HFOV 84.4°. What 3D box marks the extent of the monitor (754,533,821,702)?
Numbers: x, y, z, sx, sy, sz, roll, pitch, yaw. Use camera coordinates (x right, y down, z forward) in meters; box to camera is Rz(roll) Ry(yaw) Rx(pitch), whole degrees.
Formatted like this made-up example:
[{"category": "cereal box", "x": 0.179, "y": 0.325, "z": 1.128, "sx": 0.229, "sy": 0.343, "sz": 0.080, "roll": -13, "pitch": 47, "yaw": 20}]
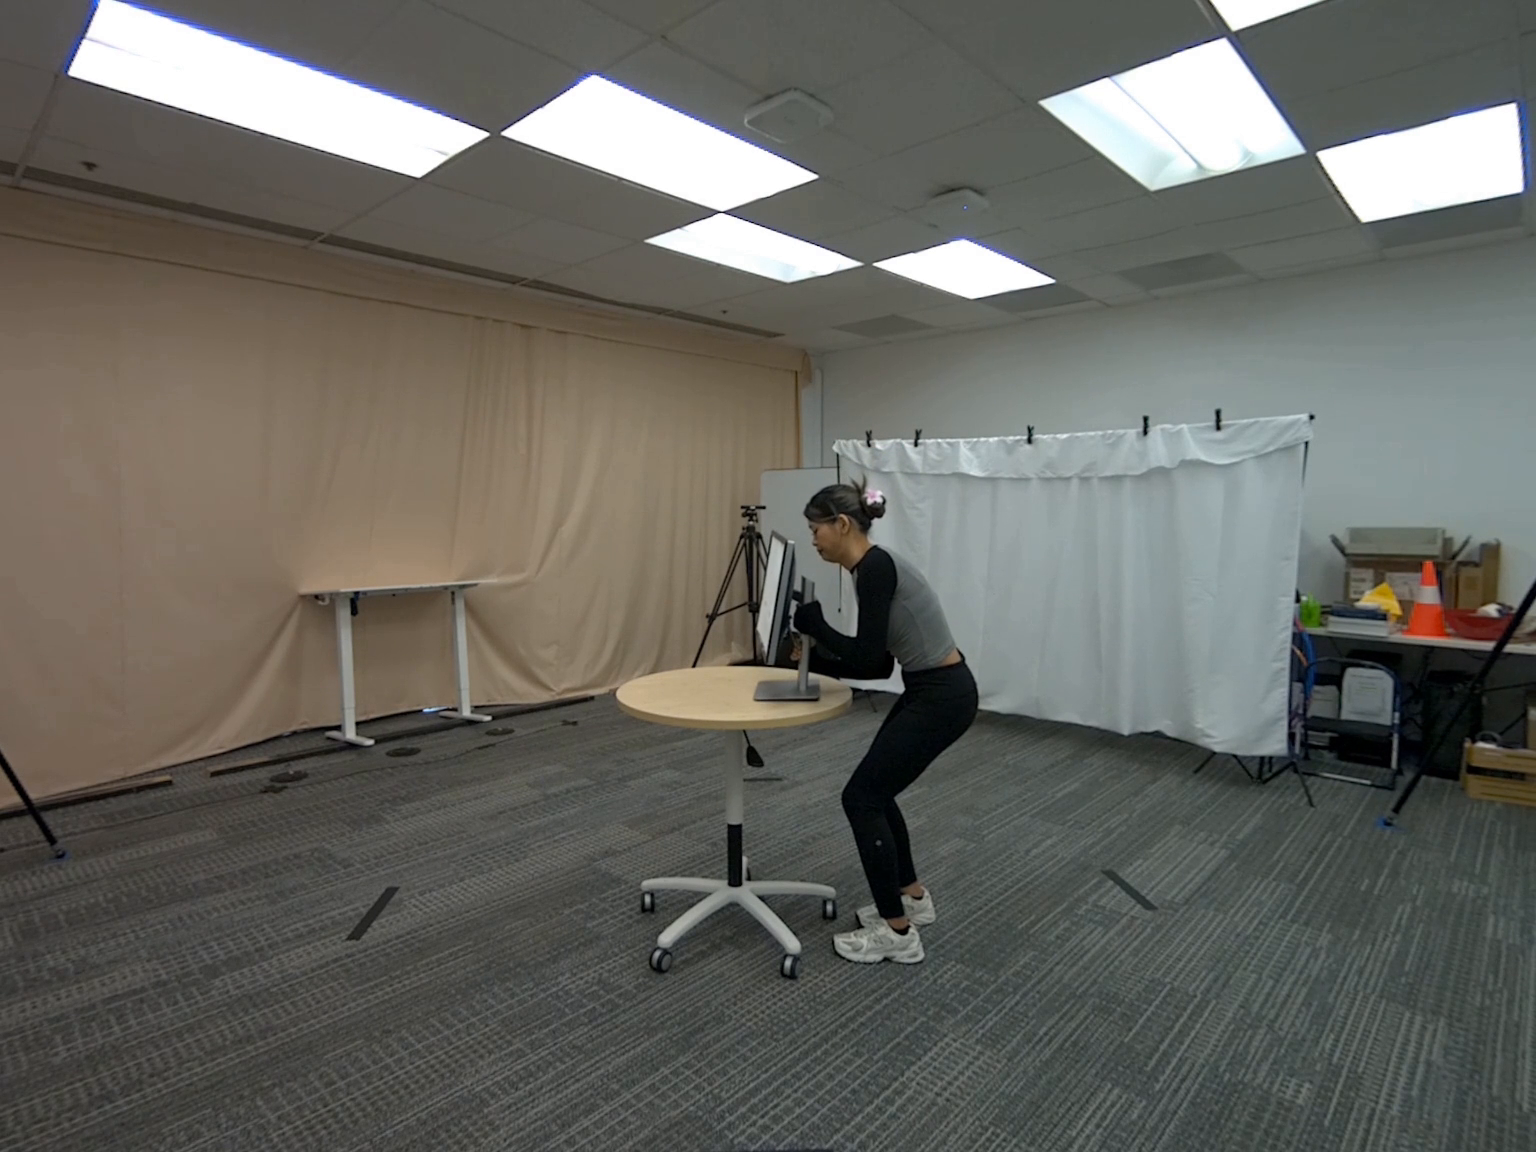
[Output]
[{"category": "monitor", "x": 0.064, "y": 0.130, "z": 2.691, "sx": 0.186, "sy": 0.521, "sz": 0.543, "roll": -2, "pitch": 5, "yaw": -6}]
